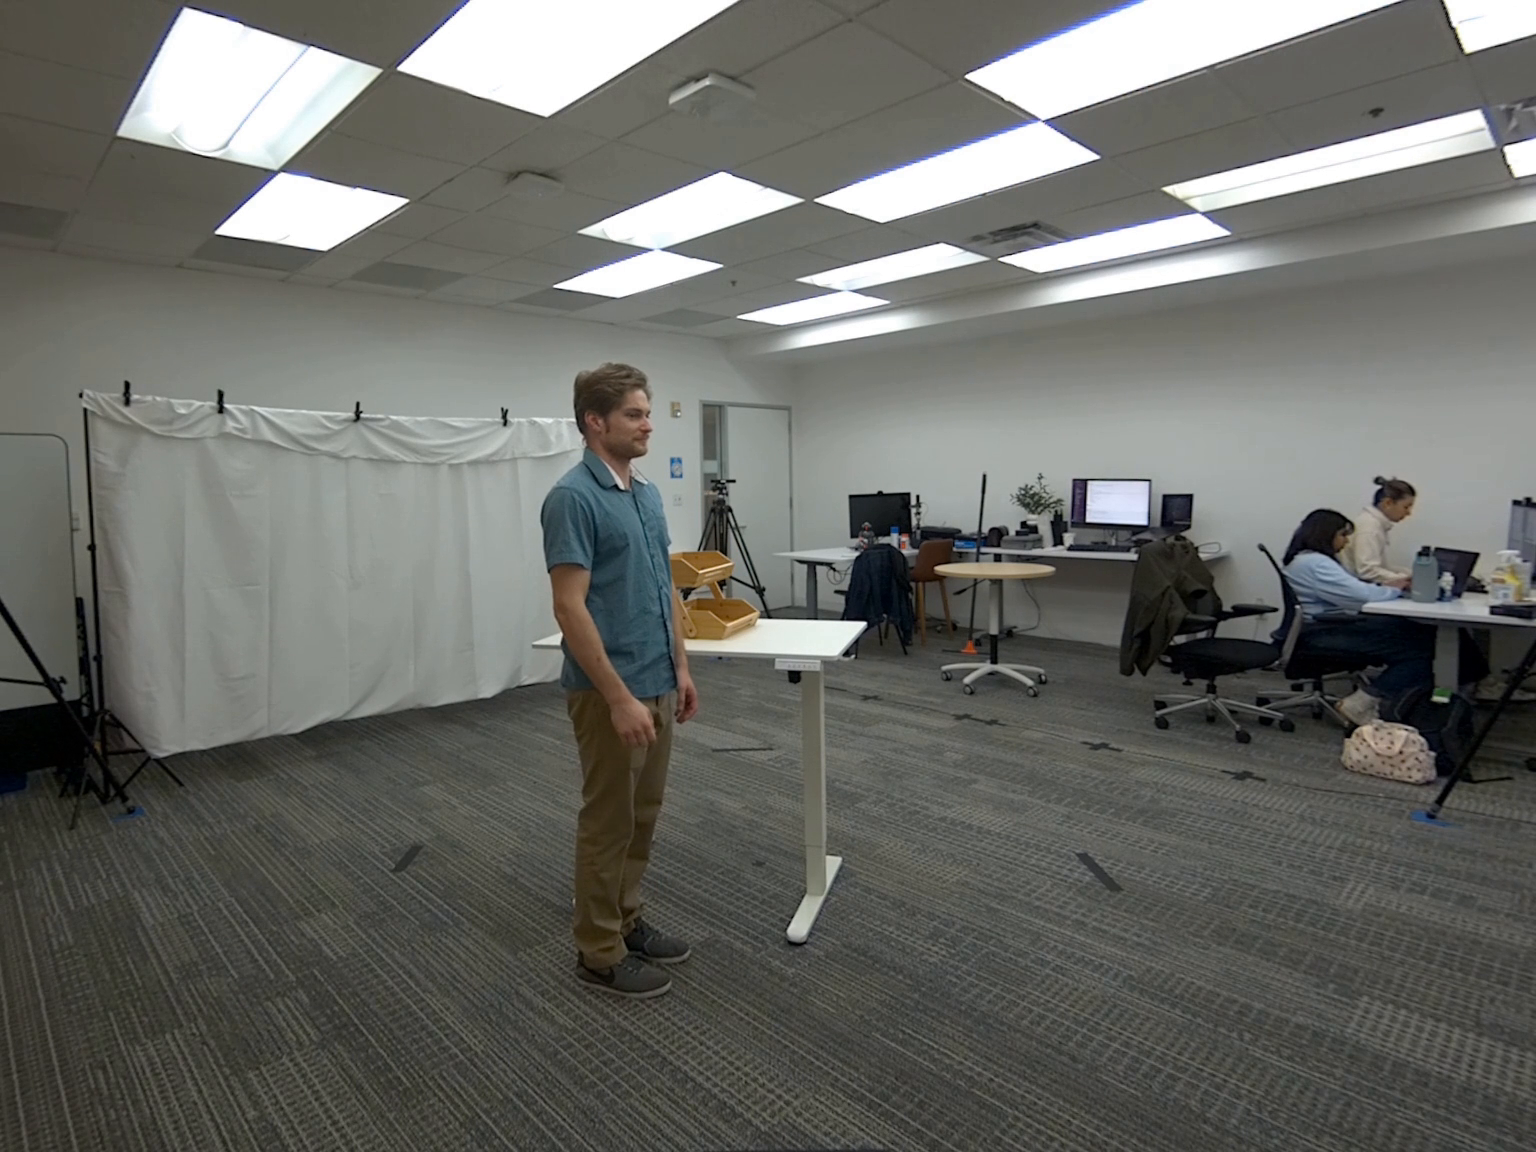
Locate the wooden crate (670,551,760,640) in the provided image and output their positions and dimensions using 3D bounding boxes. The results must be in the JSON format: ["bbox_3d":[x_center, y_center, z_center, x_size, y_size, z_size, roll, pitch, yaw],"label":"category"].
[{"bbox_3d":[-0.217,0.054,2.922,0.308,0.272,0.319,0,5,22],"label":"wooden crate"}]
